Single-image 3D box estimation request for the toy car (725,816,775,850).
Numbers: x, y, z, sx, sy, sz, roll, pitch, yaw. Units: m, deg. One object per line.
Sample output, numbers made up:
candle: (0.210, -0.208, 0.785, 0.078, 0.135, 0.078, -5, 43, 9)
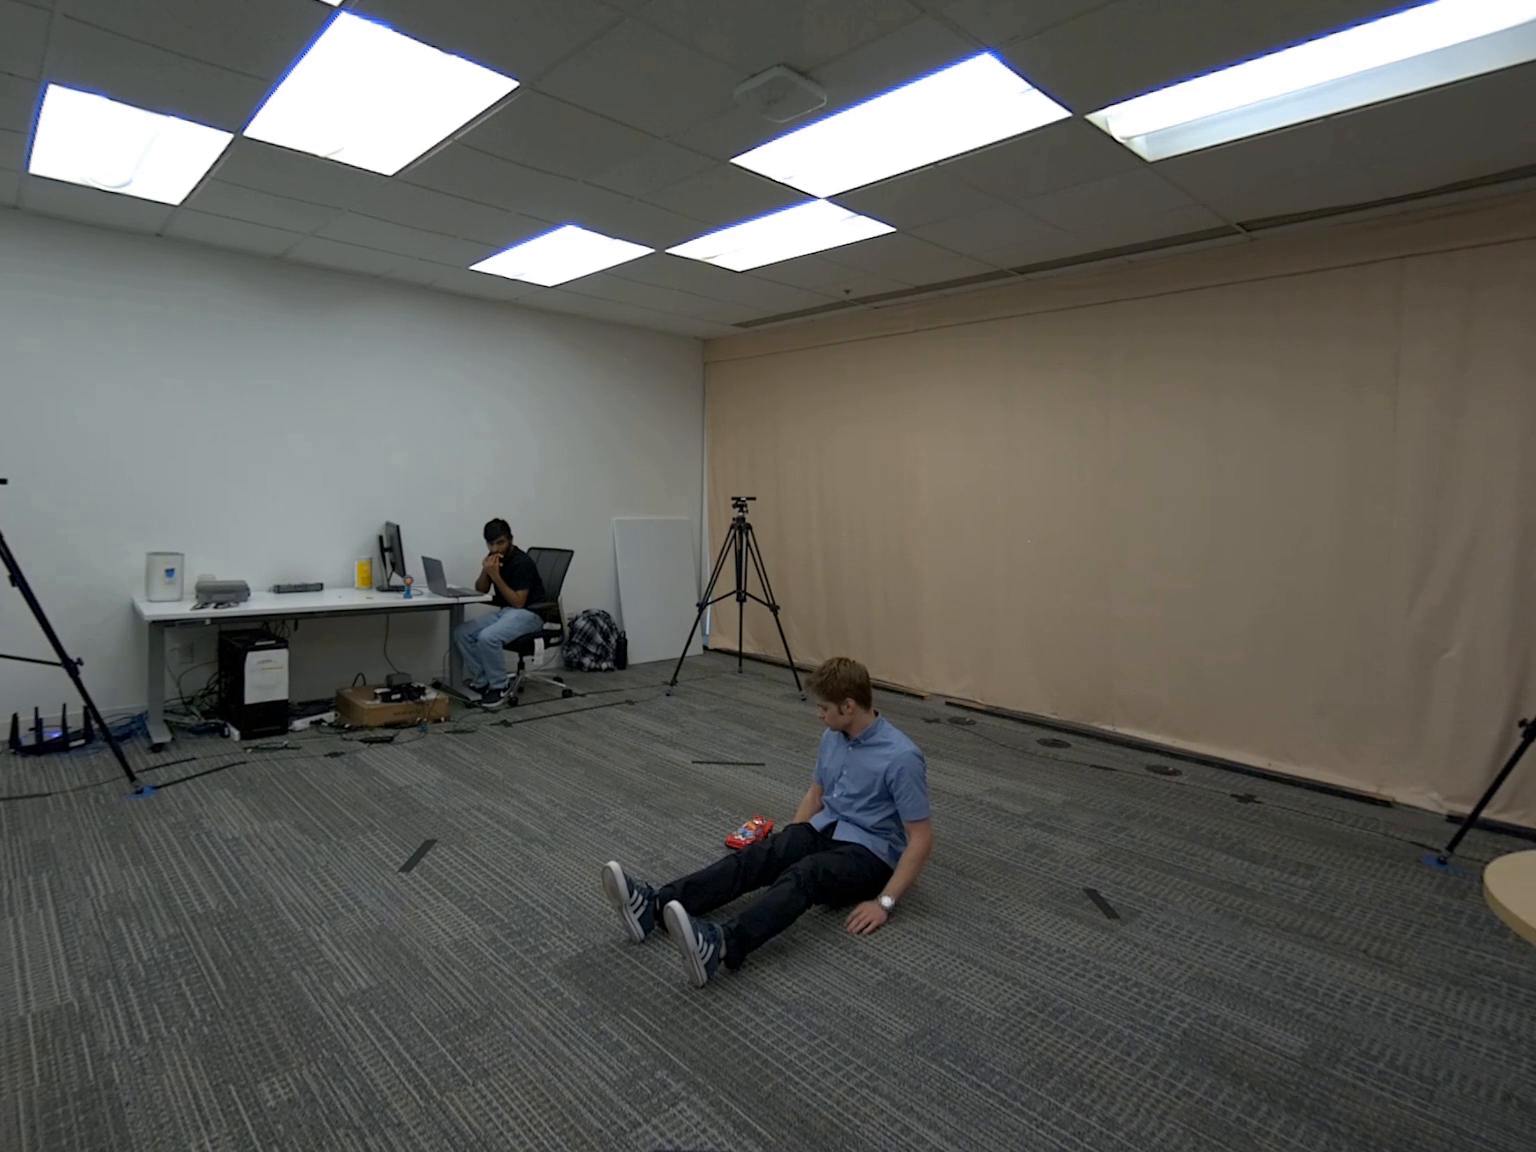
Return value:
toy car: (-0.076, 1.053, 3.428, 0.133, 0.082, 0.252, 2, 18, 33)
